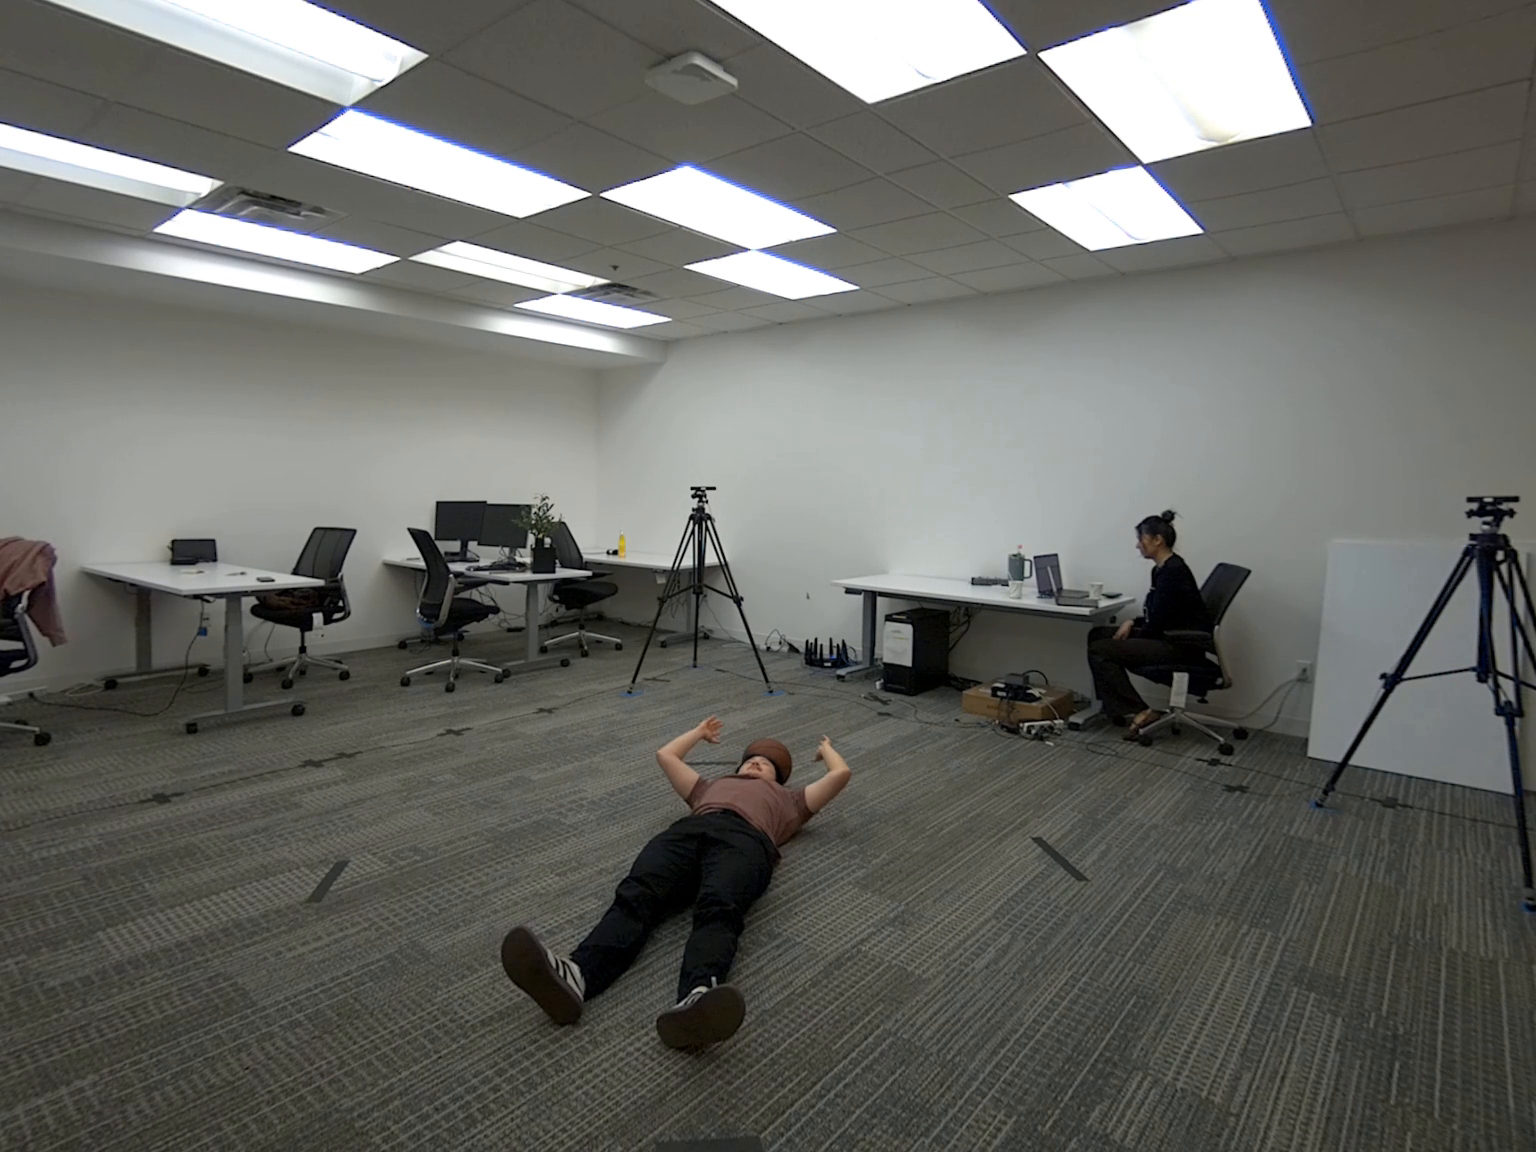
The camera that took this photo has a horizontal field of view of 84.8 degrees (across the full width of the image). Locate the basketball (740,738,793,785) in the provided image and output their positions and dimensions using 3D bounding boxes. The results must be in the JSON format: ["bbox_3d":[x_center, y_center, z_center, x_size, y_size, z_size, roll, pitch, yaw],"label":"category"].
[{"bbox_3d":[-0.019,0.865,3.941,0.236,0.235,0.237,-3,3,-2],"label":"basketball"}]
